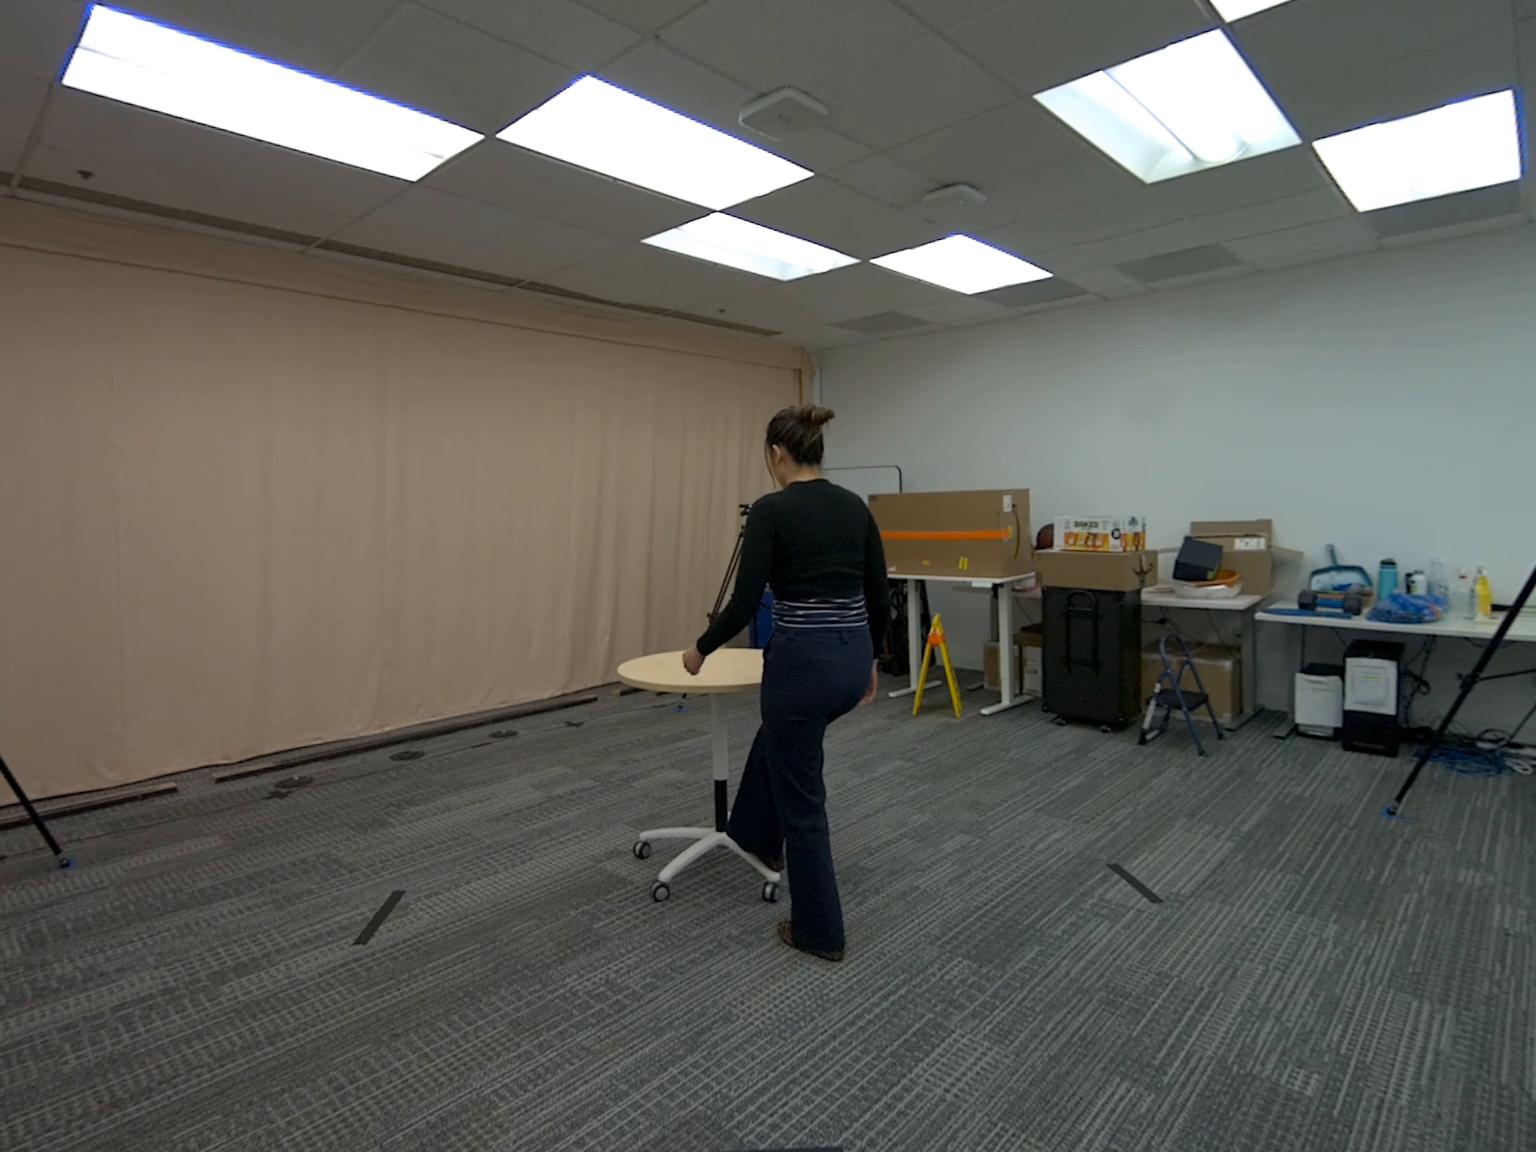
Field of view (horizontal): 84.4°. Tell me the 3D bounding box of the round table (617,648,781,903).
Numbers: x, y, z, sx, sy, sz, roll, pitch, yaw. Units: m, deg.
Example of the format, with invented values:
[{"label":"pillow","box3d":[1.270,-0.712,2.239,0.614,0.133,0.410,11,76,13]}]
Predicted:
[{"label":"round table","box3d":[-0.185,0.734,3.228,0.763,0.792,0.766,-2,3,-2]}]
